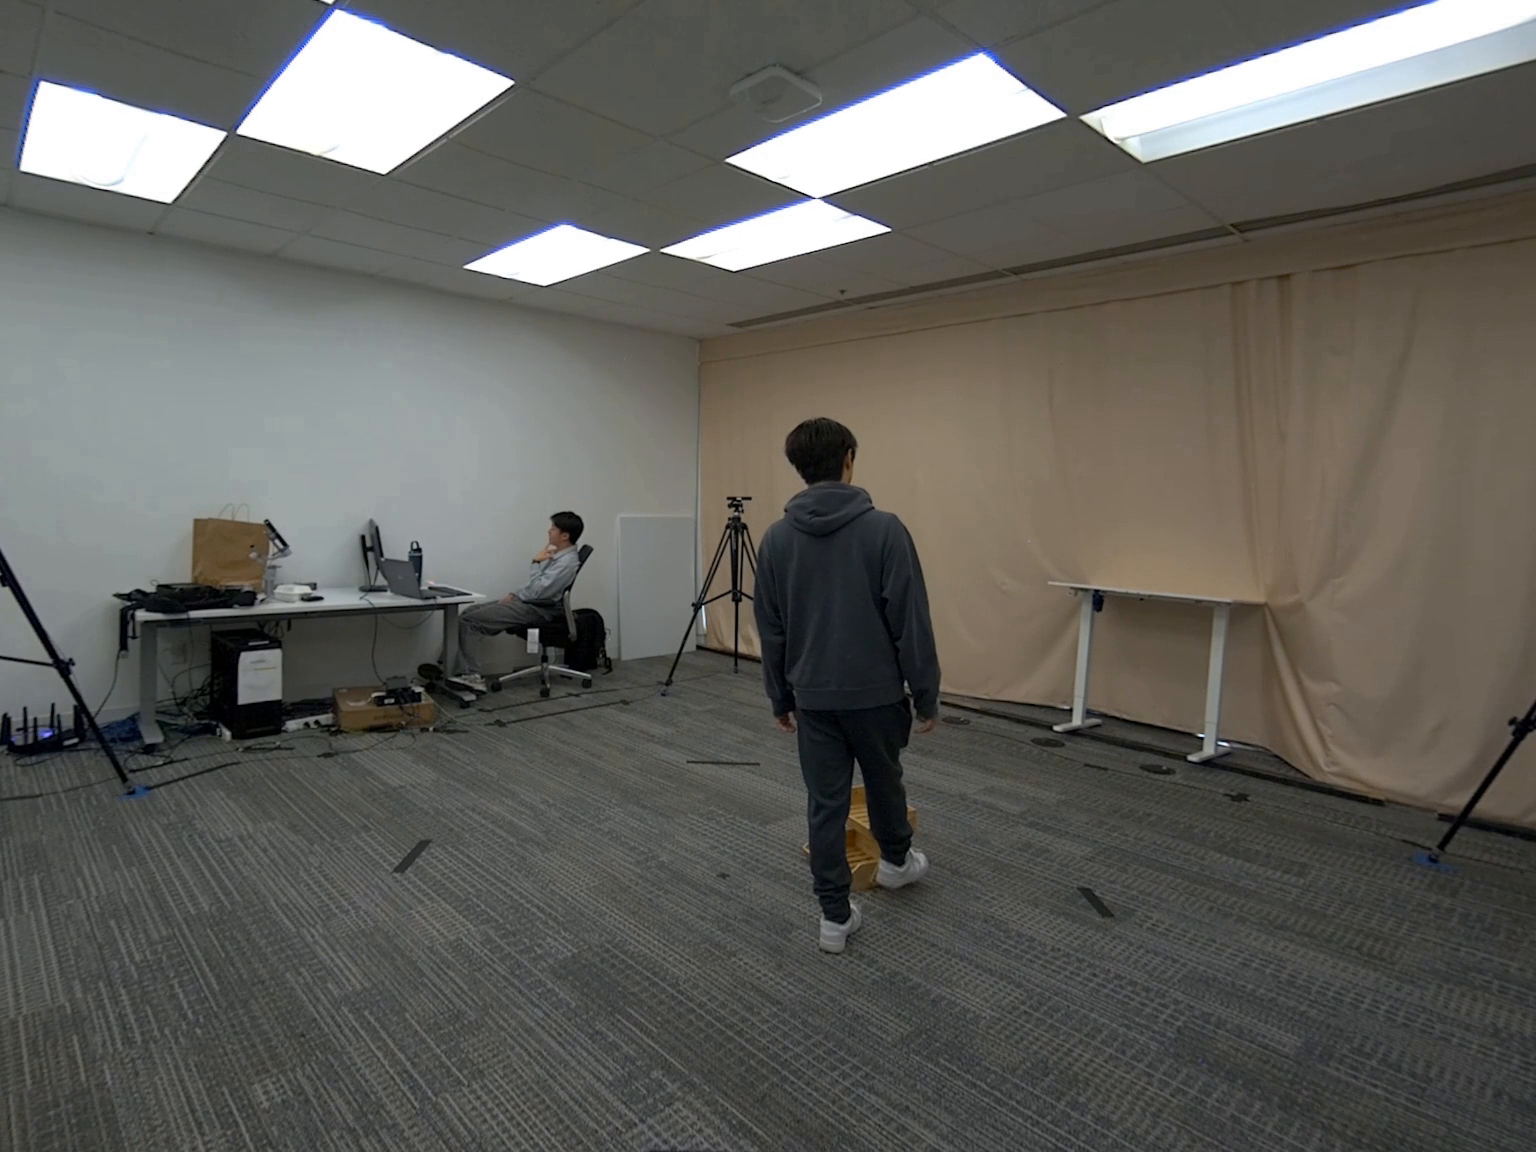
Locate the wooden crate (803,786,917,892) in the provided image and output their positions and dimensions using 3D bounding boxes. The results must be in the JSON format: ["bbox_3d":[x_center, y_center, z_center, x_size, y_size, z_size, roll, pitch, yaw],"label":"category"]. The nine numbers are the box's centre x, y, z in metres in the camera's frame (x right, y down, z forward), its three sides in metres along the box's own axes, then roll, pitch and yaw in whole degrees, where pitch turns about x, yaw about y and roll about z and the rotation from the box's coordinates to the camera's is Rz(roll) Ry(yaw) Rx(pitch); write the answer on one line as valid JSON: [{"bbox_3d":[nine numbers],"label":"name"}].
[{"bbox_3d":[0.339,0.977,3.180,0.296,0.273,0.331,0,3,-26],"label":"wooden crate"}]
